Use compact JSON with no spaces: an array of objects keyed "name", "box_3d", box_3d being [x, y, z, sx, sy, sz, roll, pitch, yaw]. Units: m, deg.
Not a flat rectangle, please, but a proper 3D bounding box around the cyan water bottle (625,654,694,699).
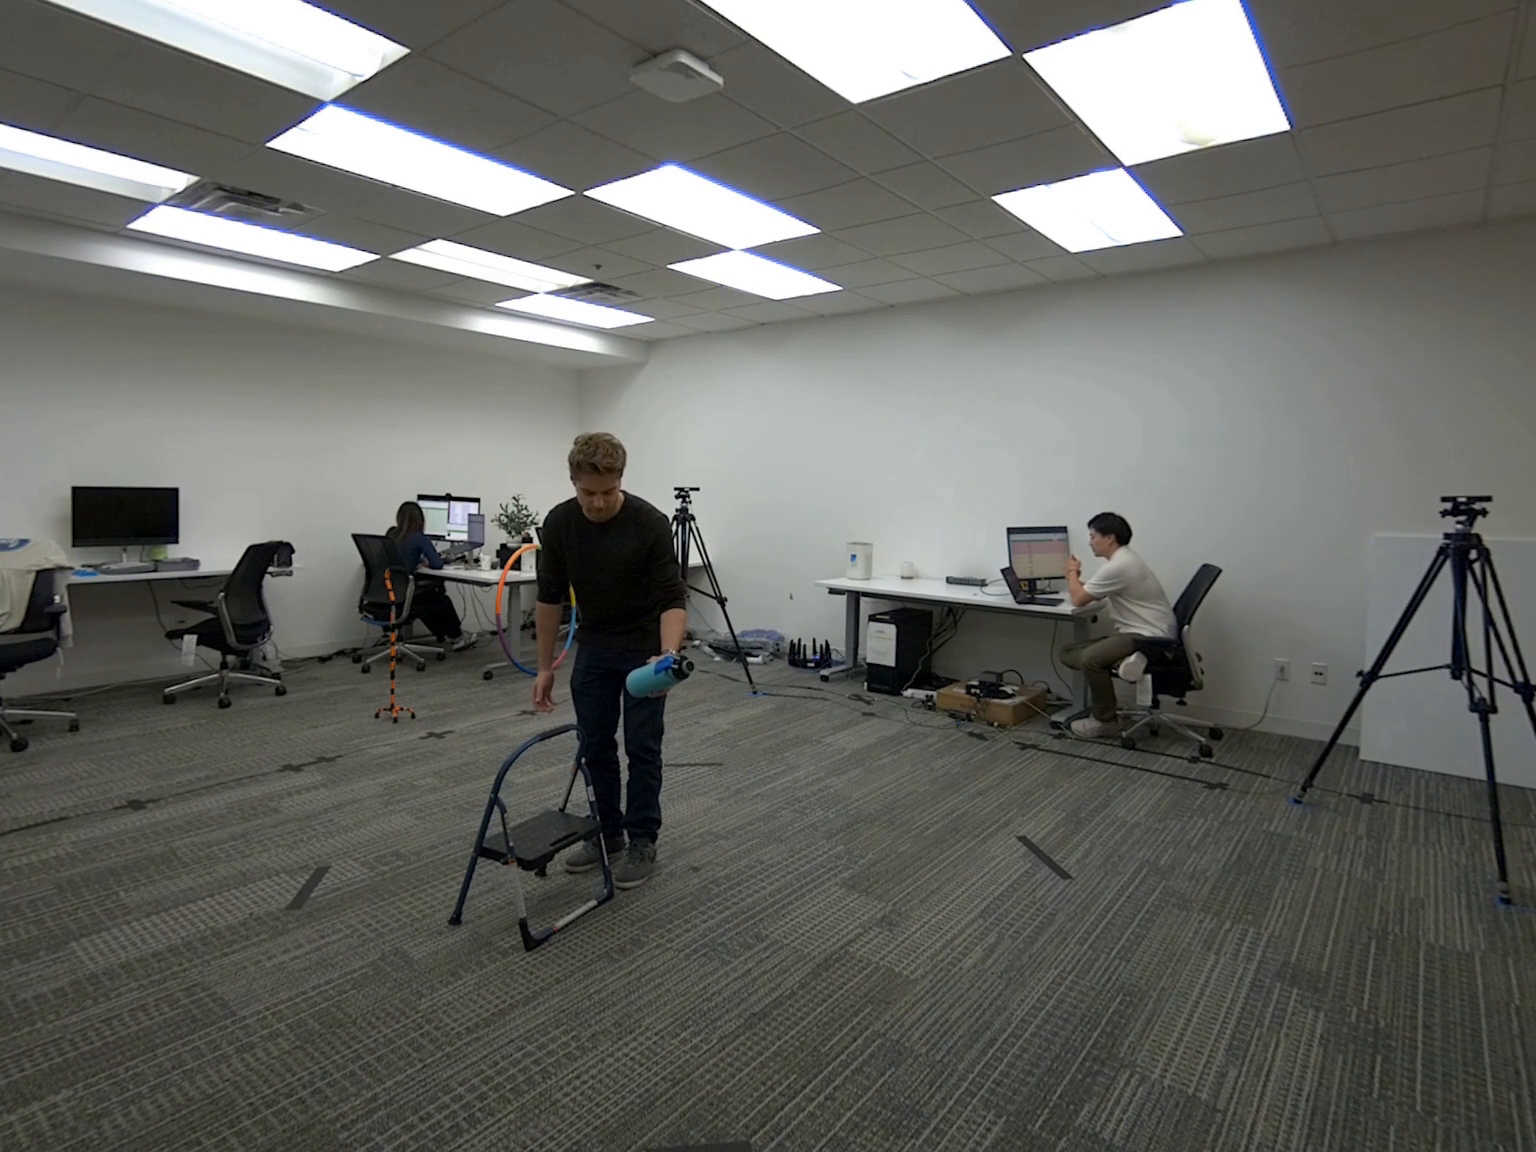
[{"name":"cyan water bottle","box_3d":[-0.339,0.300,2.605,0.089,0.094,0.287,-2,-16,-39]}]
